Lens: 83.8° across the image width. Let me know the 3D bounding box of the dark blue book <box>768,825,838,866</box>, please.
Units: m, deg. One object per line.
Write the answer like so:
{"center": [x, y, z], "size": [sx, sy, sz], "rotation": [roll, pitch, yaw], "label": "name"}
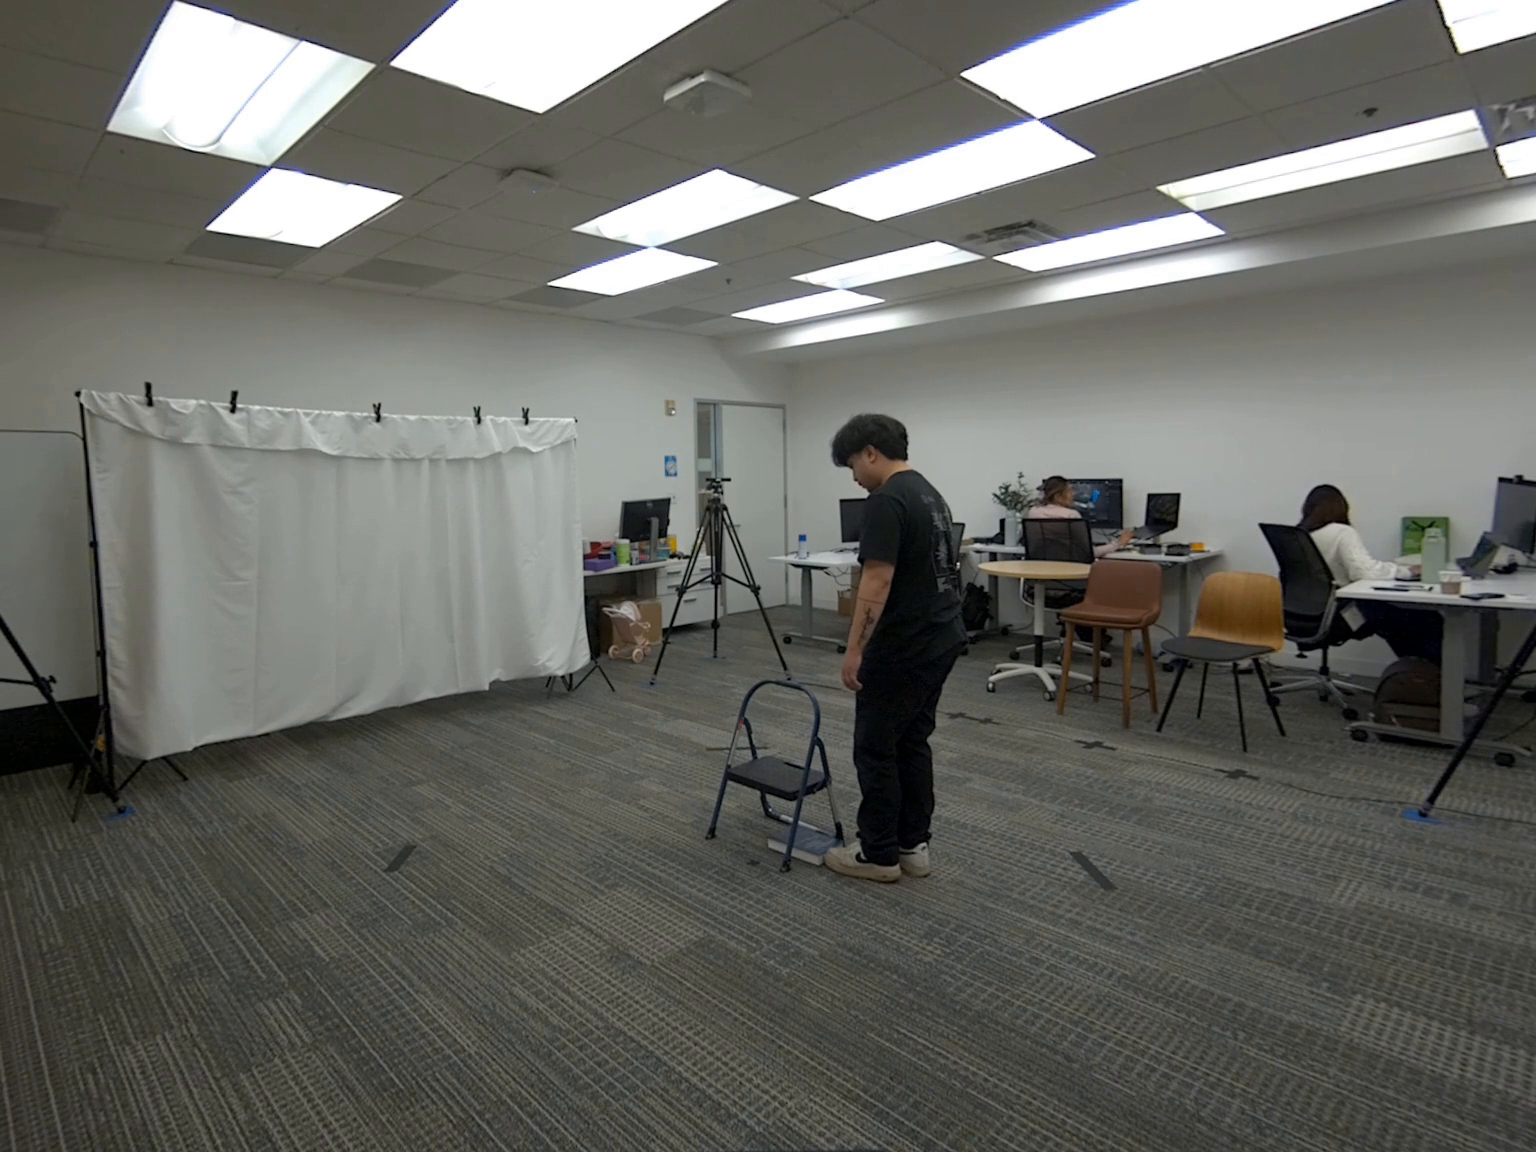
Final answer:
{"center": [0.148, 1.007, 3.203], "size": [0.252, 0.045, 0.159], "rotation": [5, 8, 41], "label": "dark blue book"}
